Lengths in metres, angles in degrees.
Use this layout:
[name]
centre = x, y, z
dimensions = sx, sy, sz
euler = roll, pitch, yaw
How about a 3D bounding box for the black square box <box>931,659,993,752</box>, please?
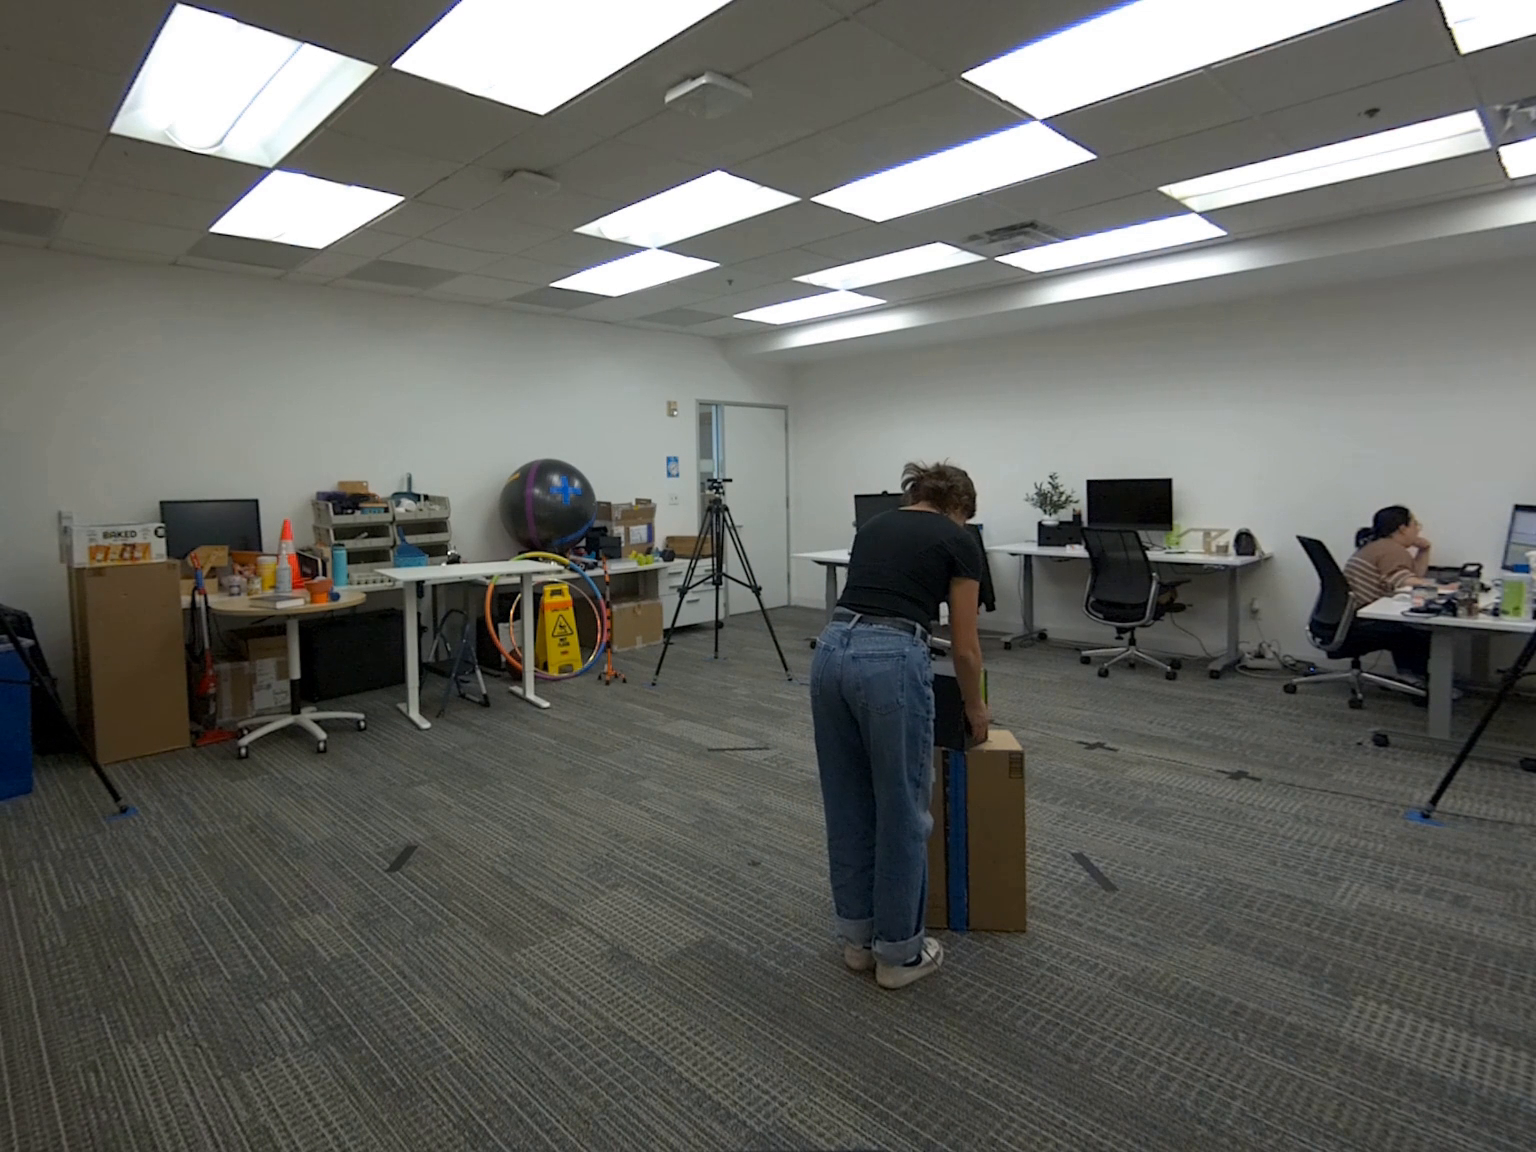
[black square box]
centre = 0.563, 0.397, 2.686
dimensions = 0.223, 0.227, 0.152
euler = 3, 5, 43
